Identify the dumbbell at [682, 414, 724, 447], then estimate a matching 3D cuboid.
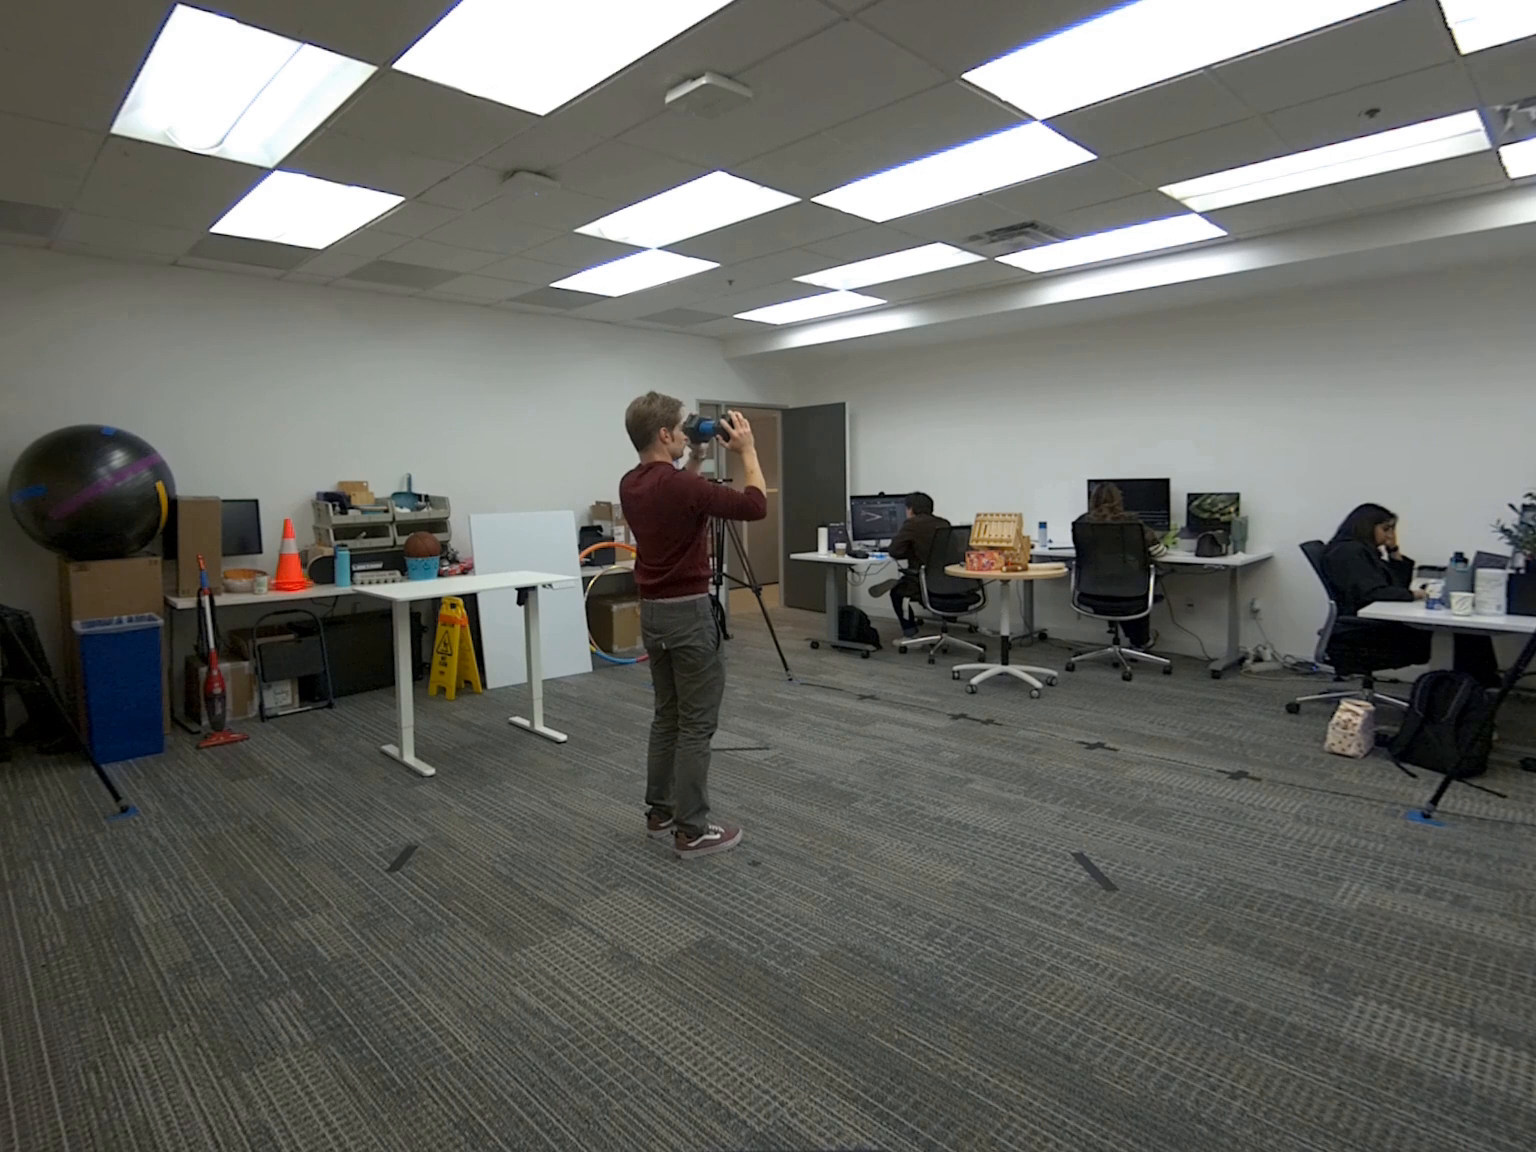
[{"bbox_3d":[-0.211,-0.571,3.300,0.108,0.120,0.303,-31,26,-28],"label":"dumbbell"}]
